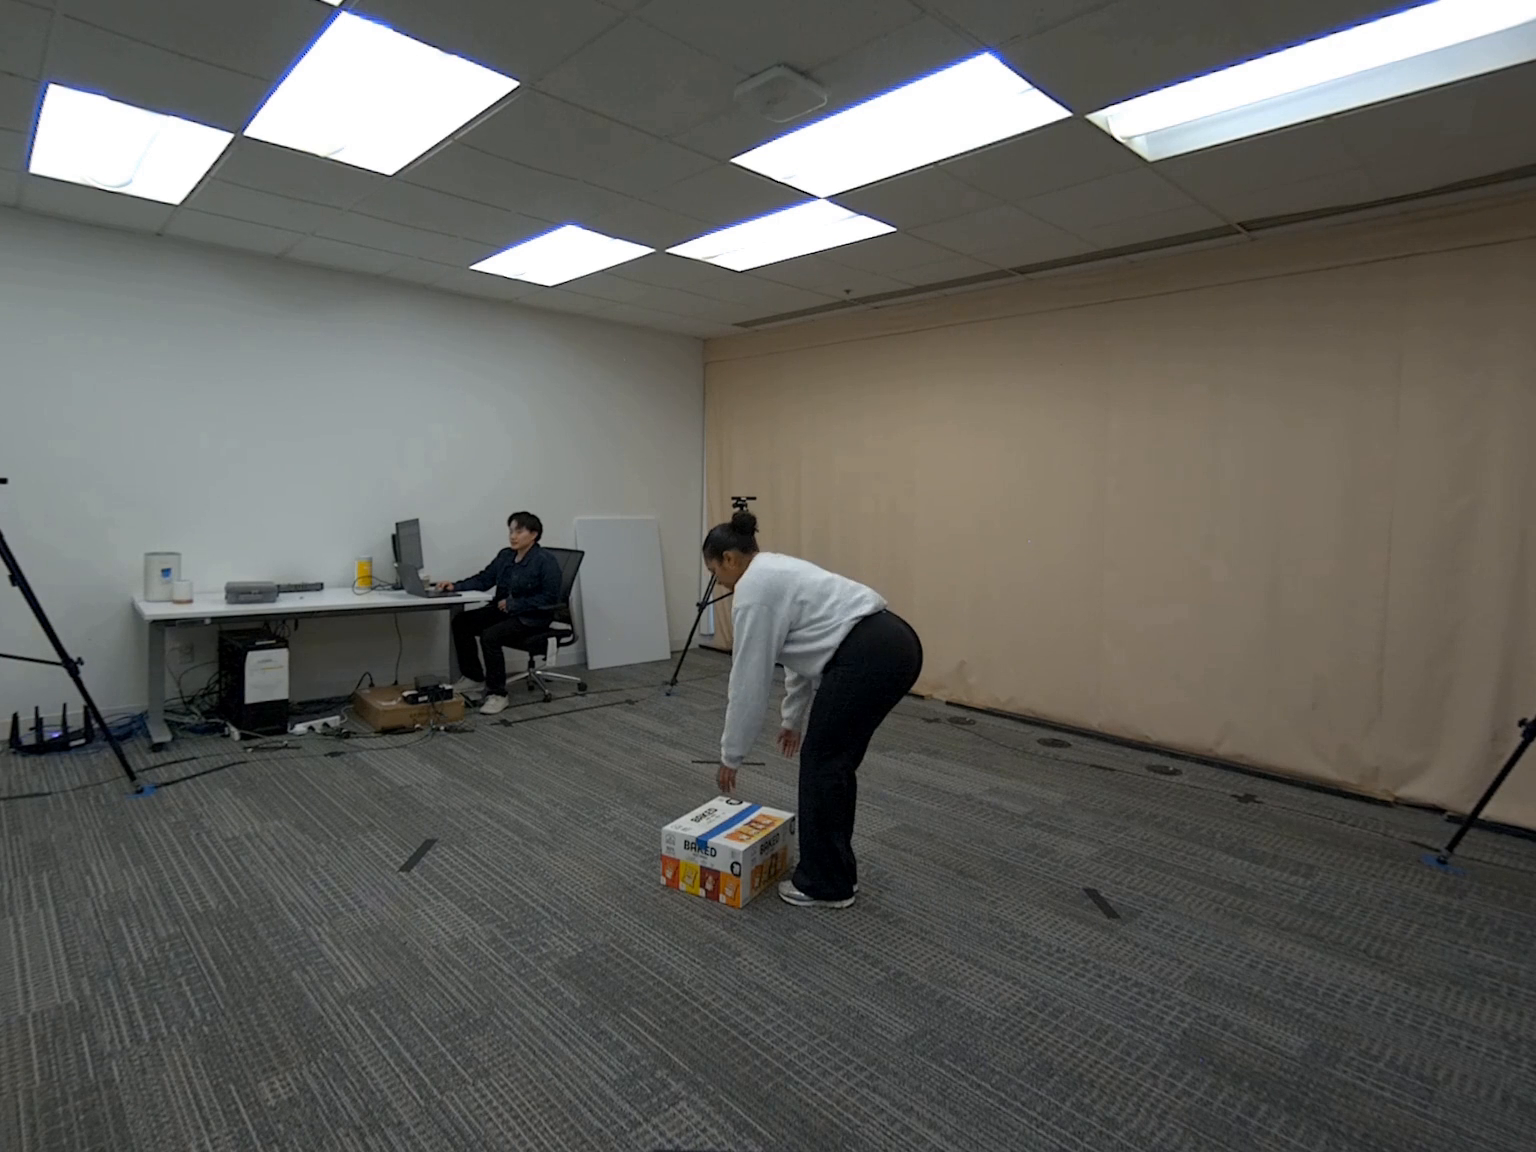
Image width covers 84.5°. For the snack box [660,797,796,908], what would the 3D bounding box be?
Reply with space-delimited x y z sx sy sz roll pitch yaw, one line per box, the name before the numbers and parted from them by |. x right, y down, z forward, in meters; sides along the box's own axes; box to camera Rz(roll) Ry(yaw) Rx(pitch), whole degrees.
snack box | -0.145 1.003 3.104 0.348 0.205 0.397 4 6 30
